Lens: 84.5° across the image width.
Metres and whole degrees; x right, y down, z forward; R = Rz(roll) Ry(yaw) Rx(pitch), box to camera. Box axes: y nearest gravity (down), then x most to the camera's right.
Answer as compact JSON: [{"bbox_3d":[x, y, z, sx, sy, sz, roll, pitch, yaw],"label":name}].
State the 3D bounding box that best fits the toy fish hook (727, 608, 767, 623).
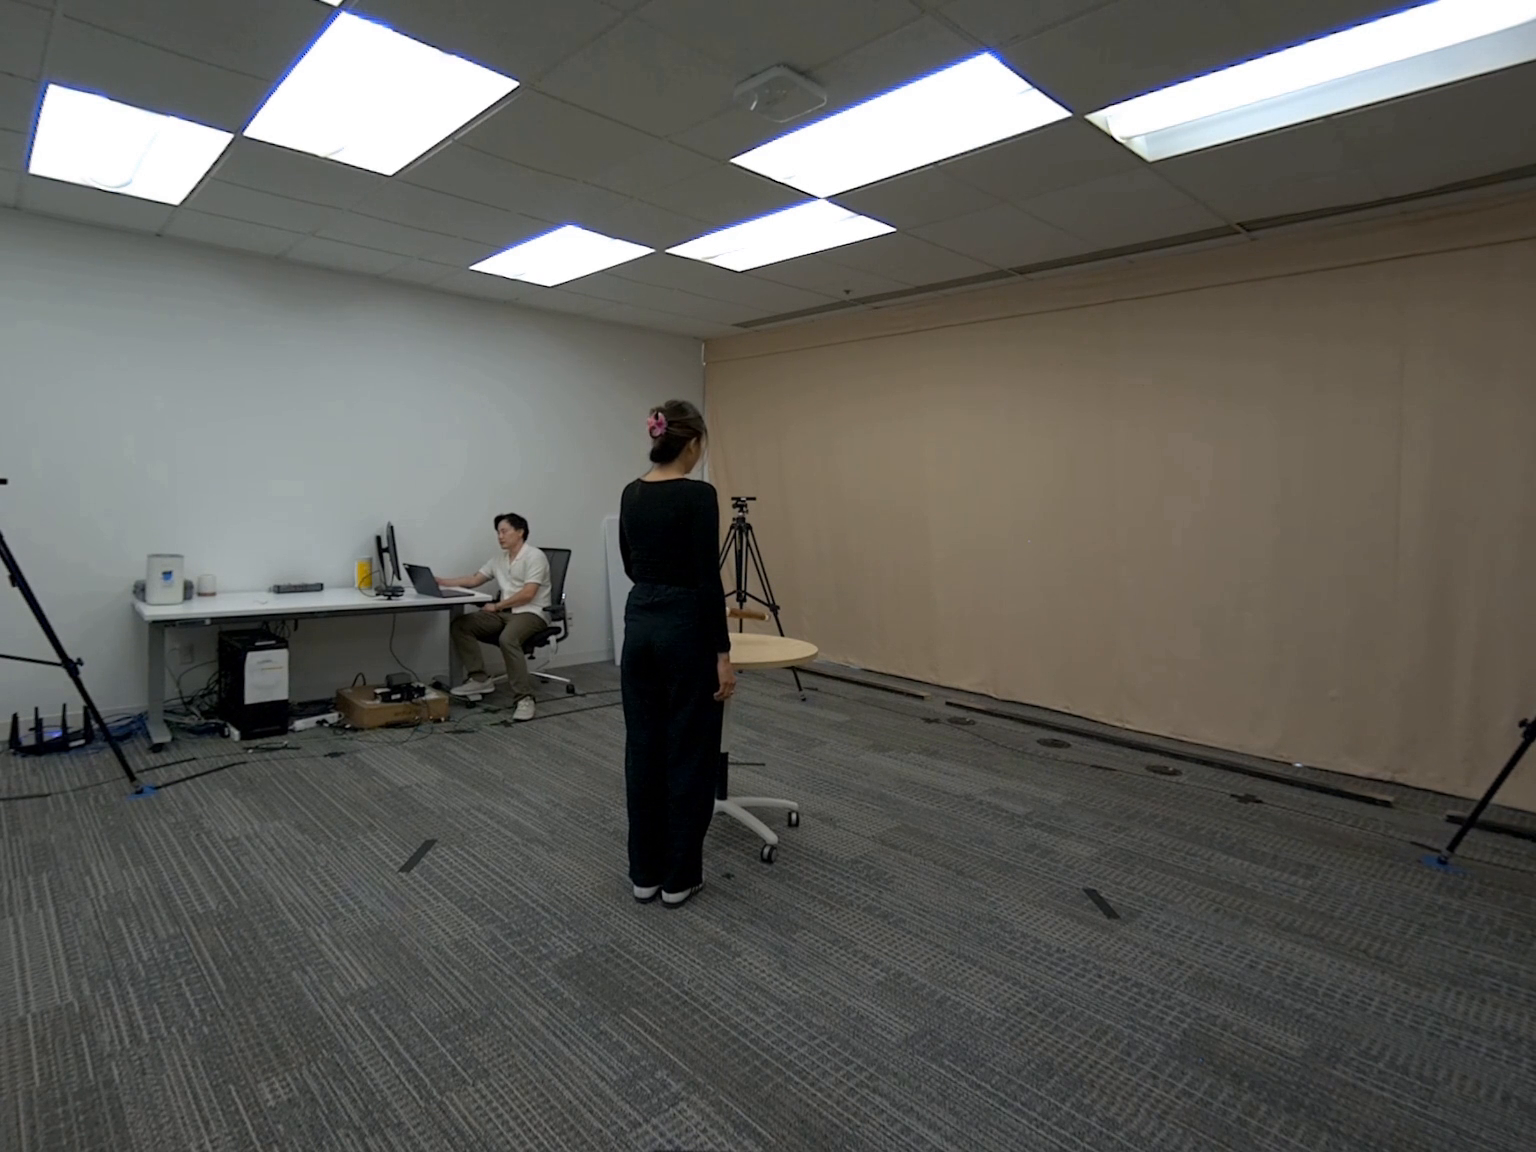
[{"bbox_3d":[-0.199,0.163,3.477,0.496,0.048,0.231,8,14,-28],"label":"toy fish hook"}]
